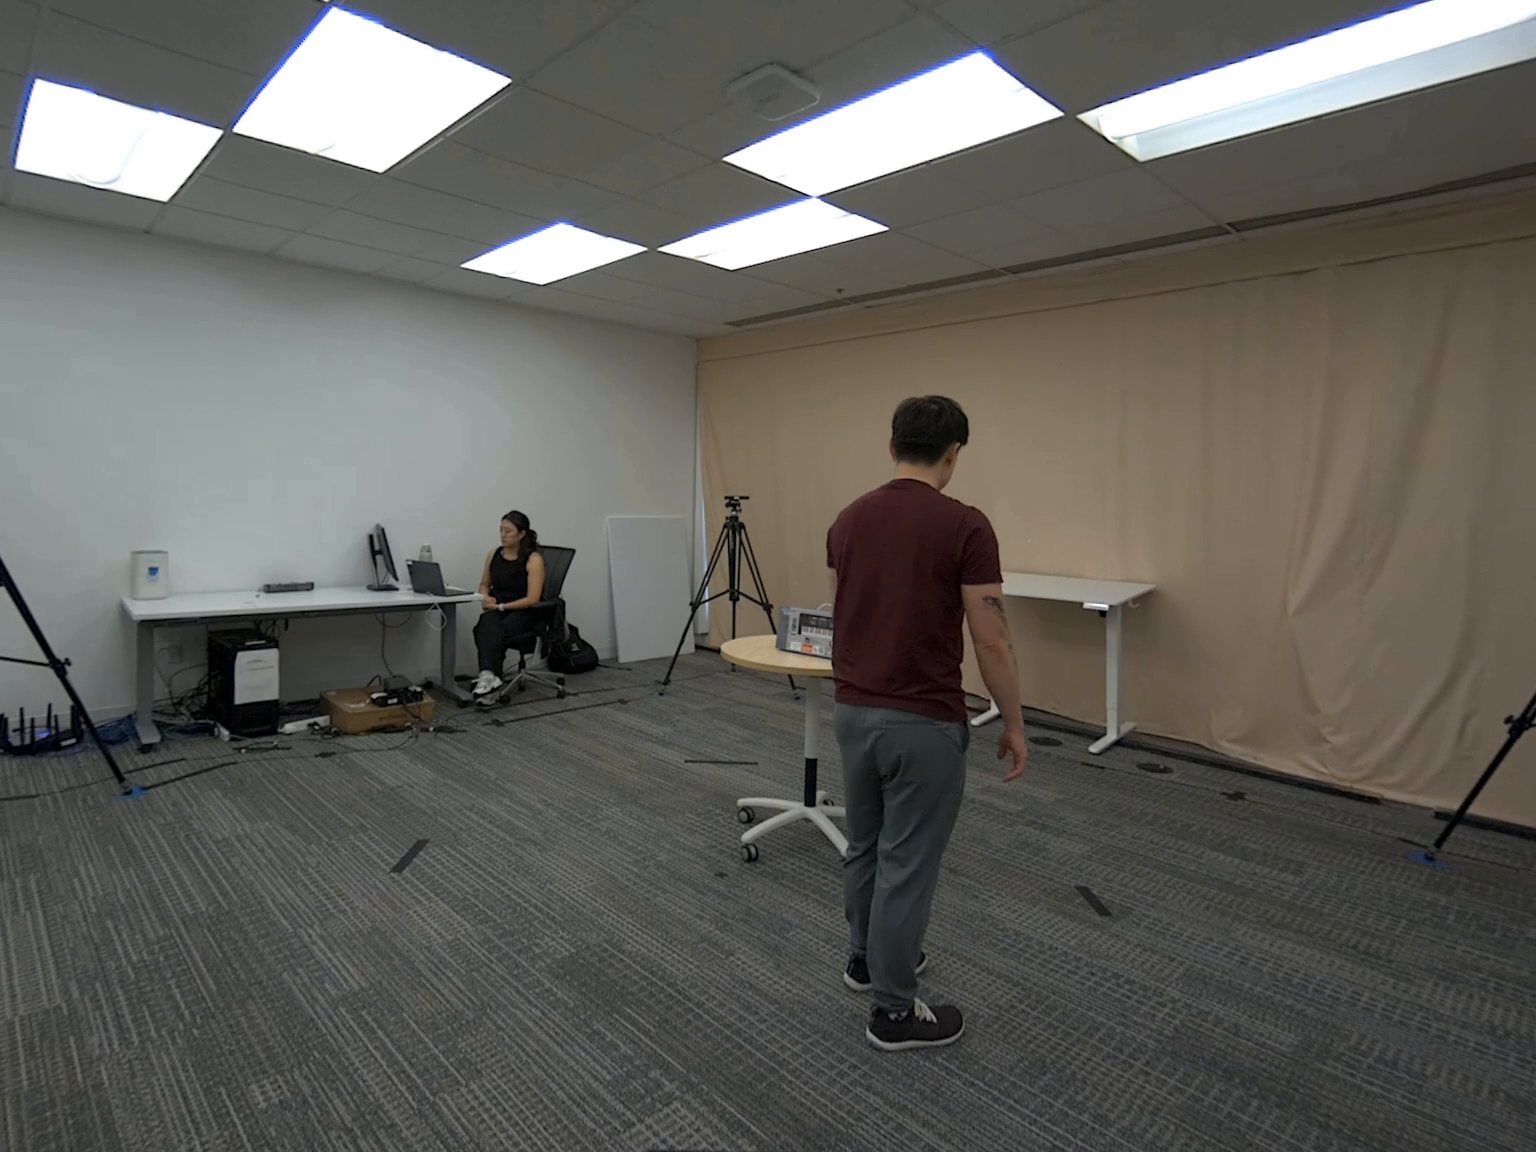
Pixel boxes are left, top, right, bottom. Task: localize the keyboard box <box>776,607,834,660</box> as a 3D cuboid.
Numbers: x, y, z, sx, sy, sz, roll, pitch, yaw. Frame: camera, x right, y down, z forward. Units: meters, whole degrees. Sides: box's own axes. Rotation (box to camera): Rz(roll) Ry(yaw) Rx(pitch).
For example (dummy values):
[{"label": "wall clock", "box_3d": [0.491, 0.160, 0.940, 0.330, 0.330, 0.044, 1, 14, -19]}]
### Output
[{"label": "keyboard box", "box_3d": [0.224, 0.230, 3.277, 0.448, 0.176, 0.057, 6, -2, 40]}]
